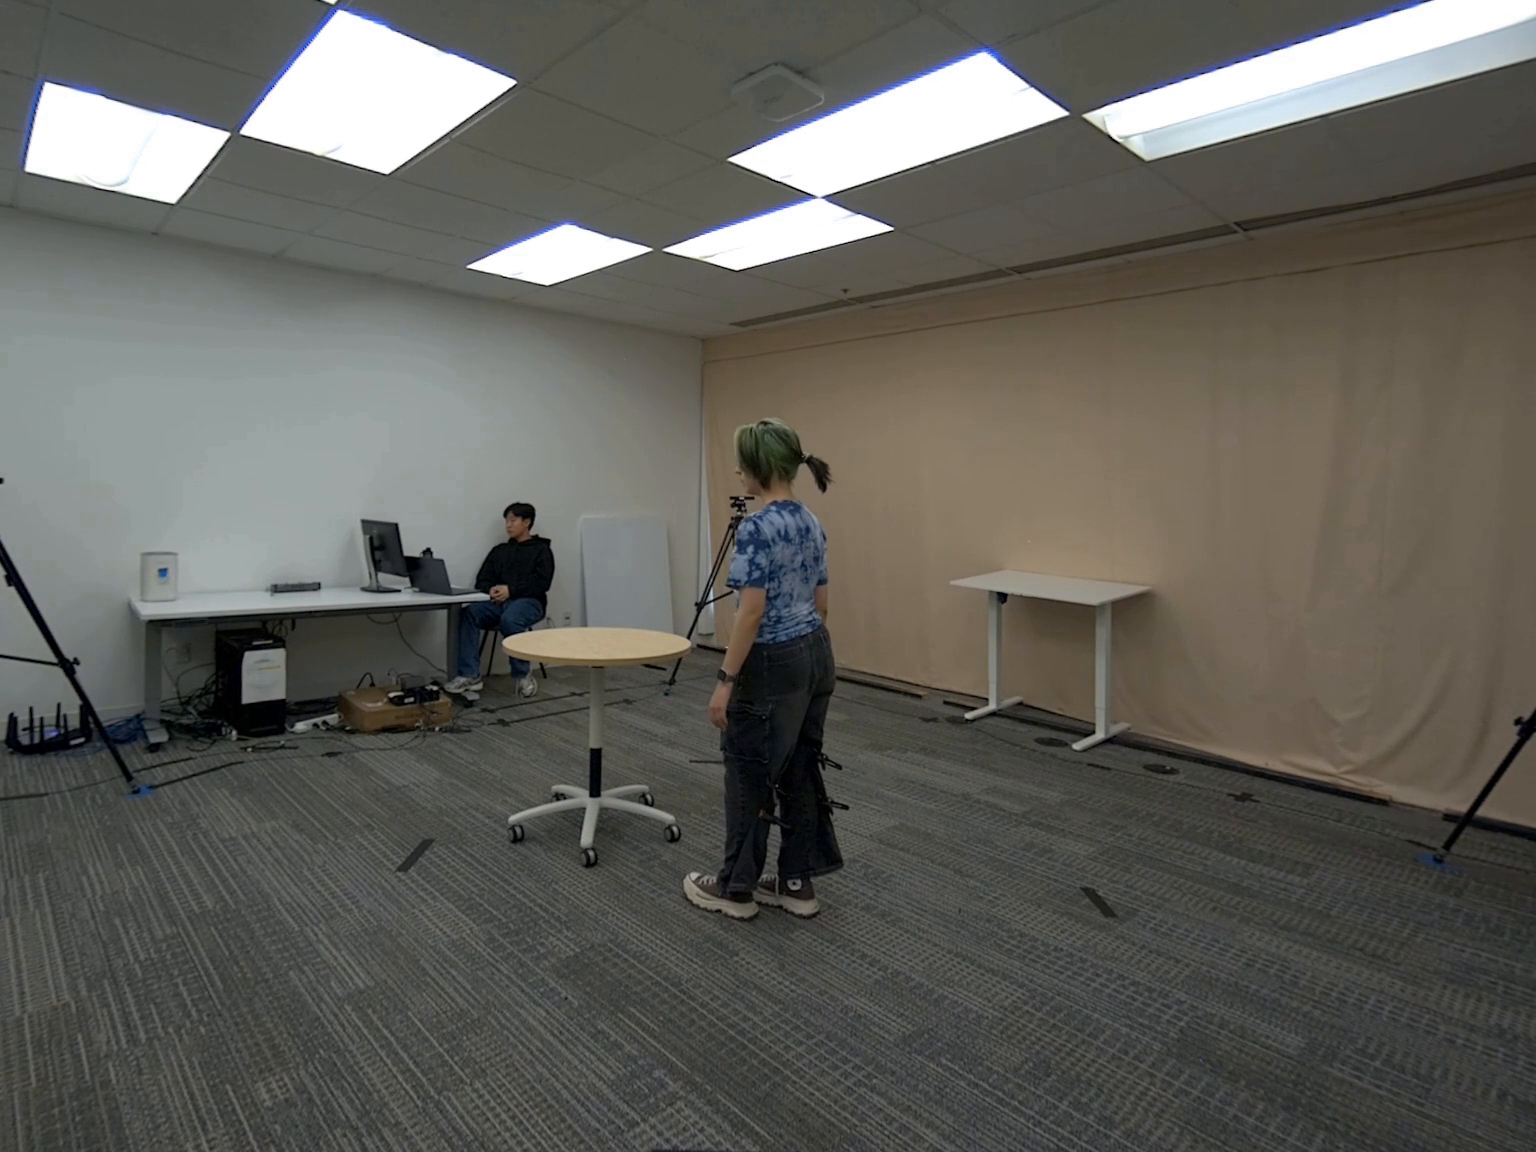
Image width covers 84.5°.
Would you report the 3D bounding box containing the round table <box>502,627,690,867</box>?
[{"bbox_3d":[-0.721,0.668,3.488,0.763,0.792,0.766,1,4,-1],"label":"round table"}]
